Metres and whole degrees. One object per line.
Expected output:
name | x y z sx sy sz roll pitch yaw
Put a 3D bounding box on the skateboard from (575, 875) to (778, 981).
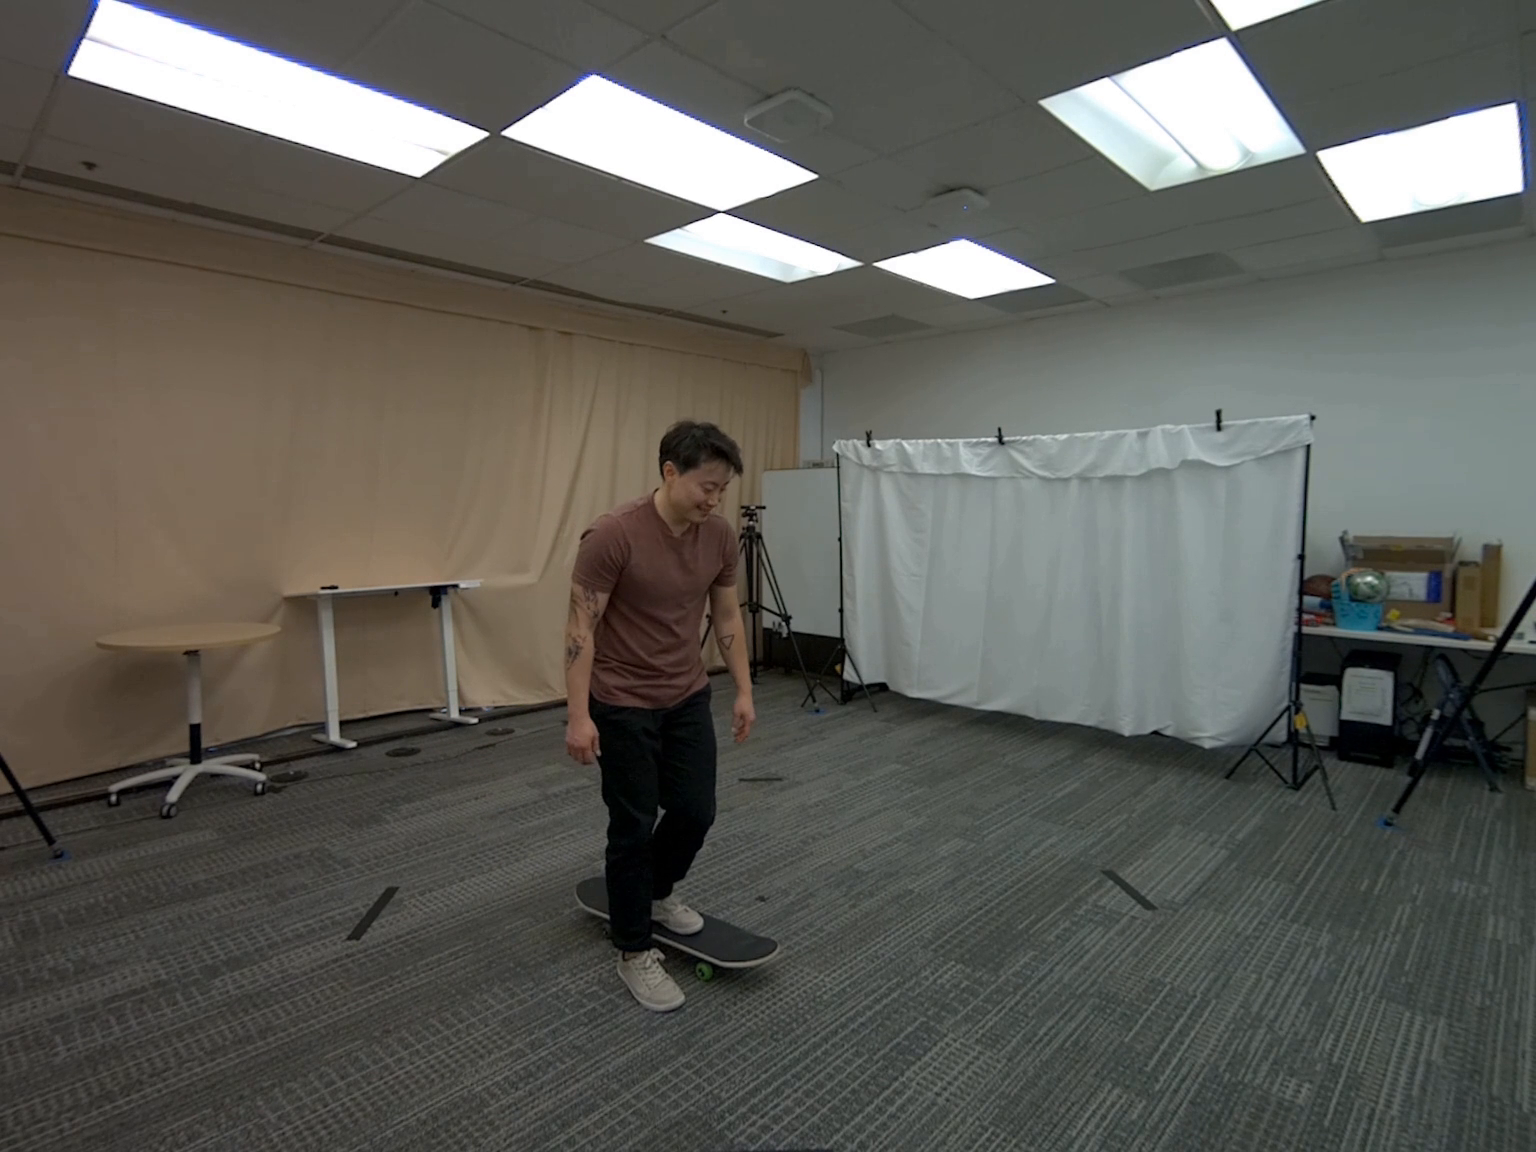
skateboard | -0.305 1.120 2.640 0.810 0.110 0.188 3 6 37
